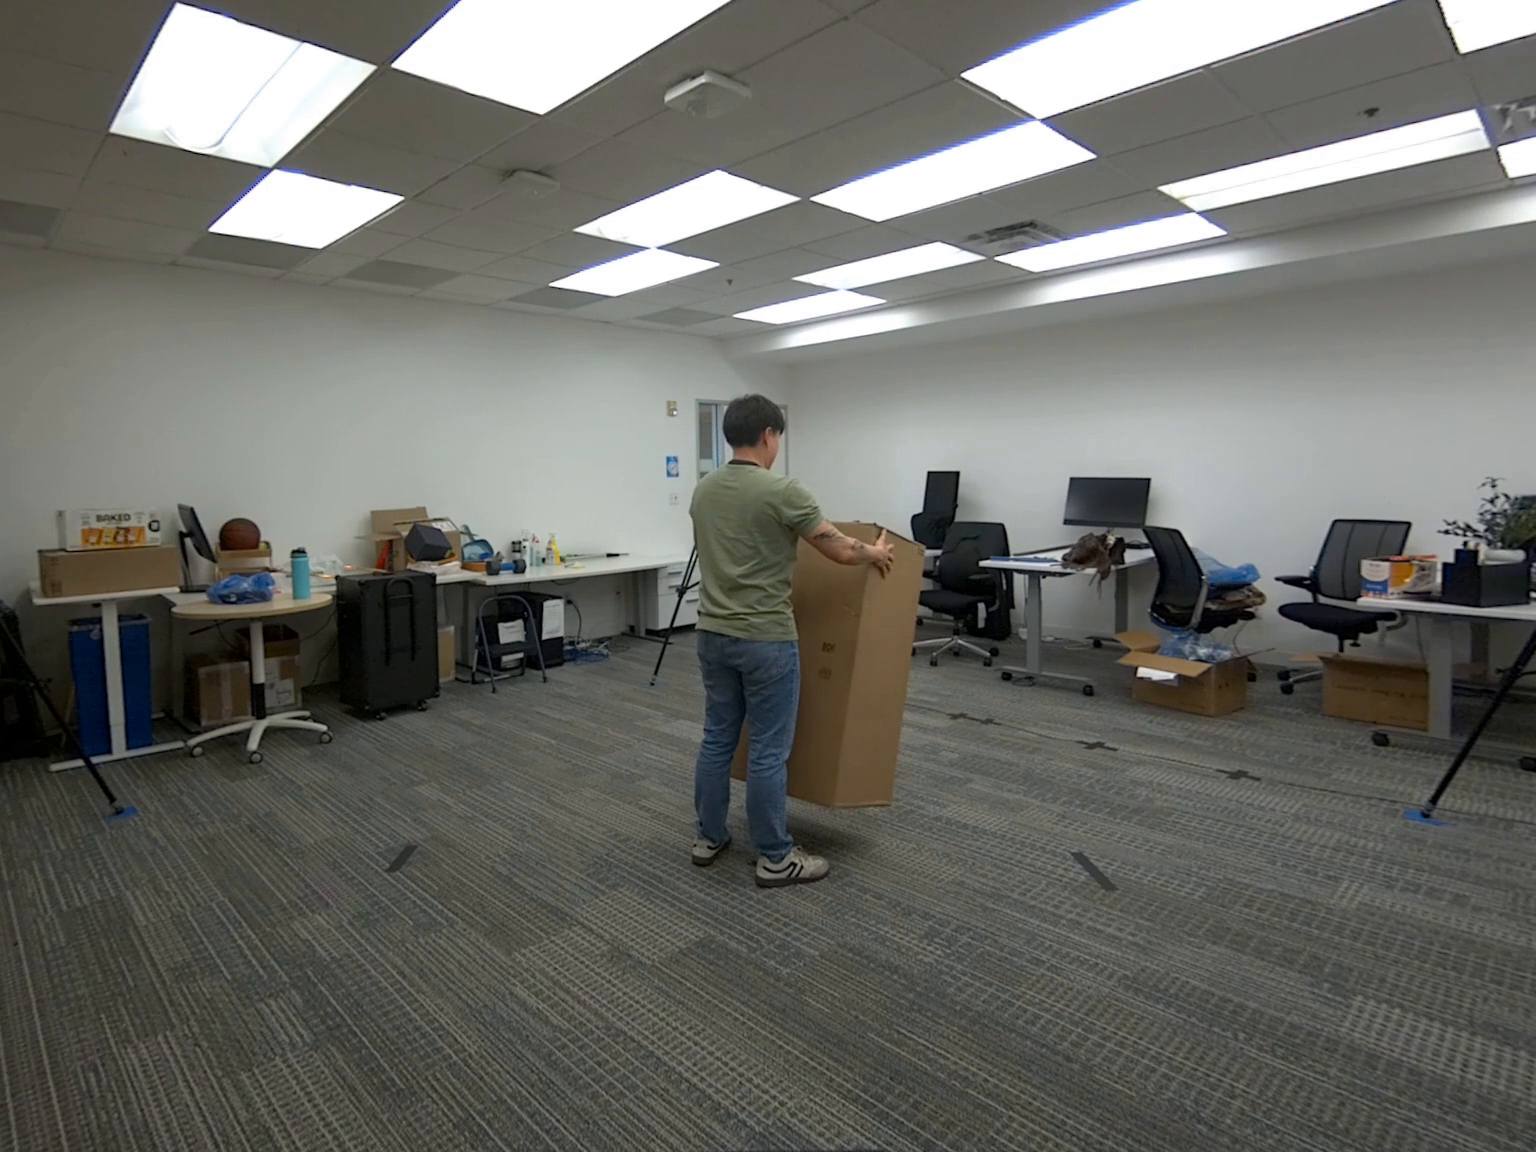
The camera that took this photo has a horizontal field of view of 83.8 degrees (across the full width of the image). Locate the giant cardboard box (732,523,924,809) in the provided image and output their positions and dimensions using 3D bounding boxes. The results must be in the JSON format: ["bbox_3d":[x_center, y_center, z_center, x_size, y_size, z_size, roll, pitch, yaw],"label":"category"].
[{"bbox_3d":[0.215,0.332,3.392,0.595,1.032,0.411,3,-10,38],"label":"giant cardboard box"}]
